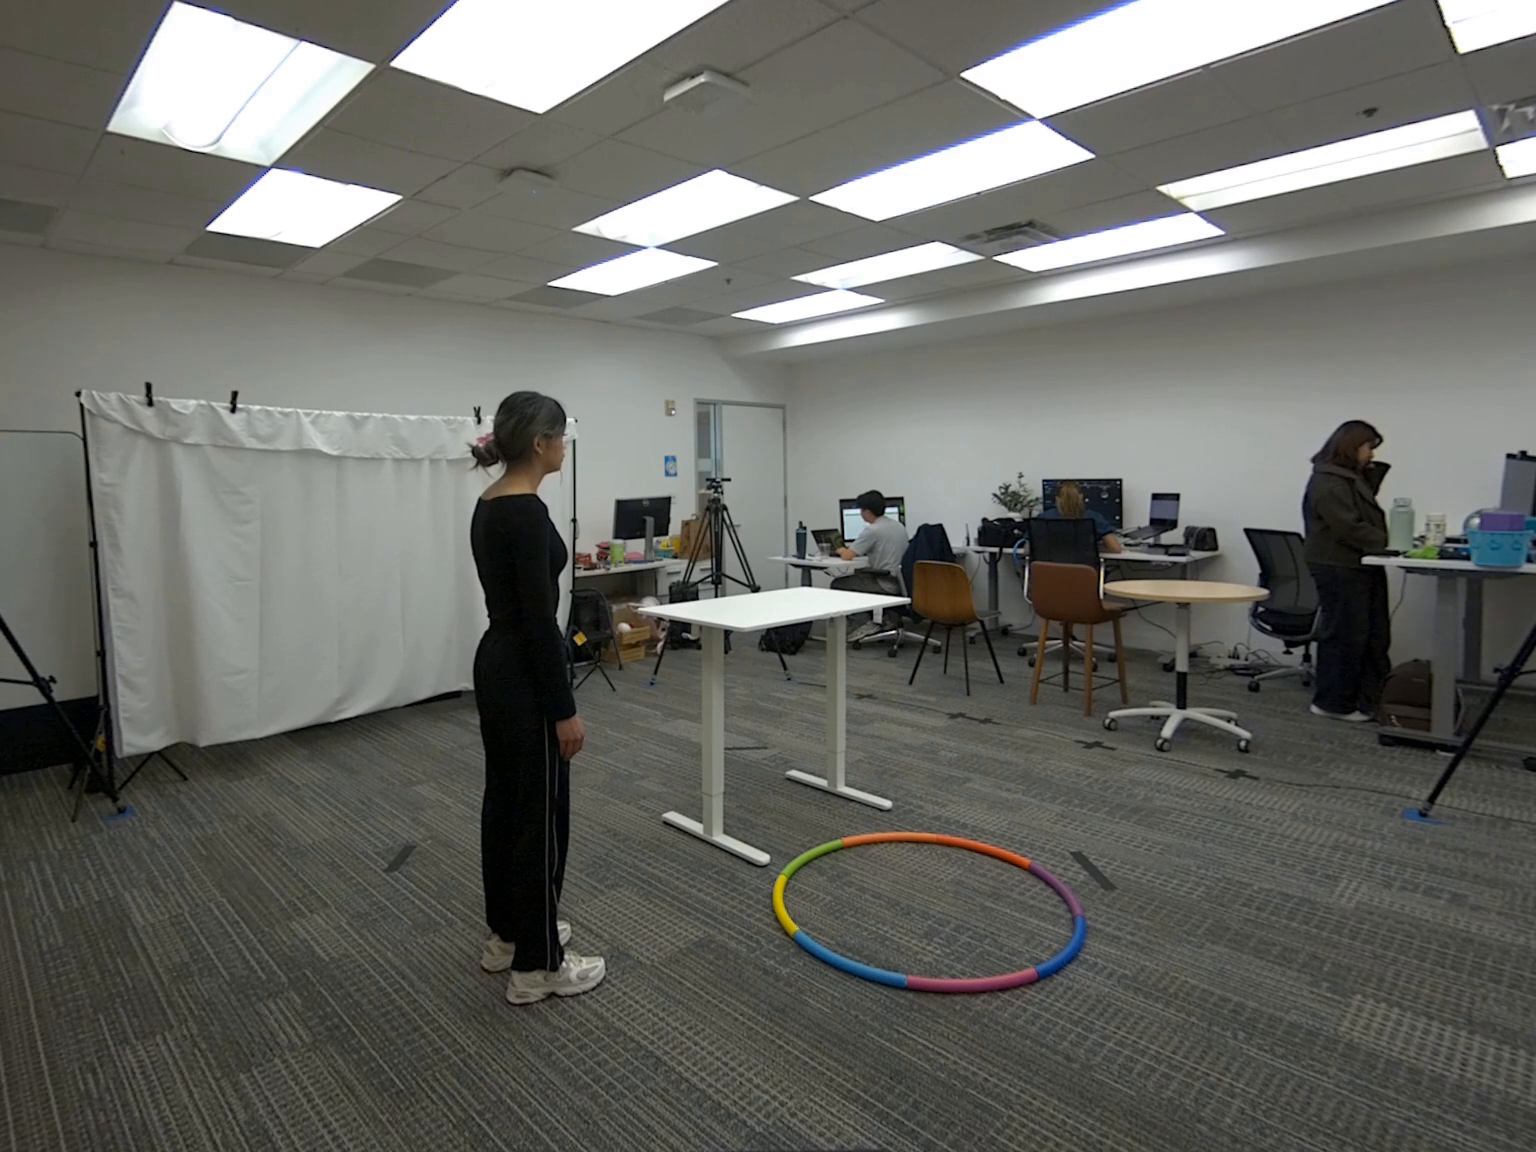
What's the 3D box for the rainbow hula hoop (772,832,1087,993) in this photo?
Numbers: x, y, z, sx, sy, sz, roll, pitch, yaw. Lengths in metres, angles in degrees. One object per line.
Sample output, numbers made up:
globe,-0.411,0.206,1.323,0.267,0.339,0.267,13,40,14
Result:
rainbow hula hoop,0.502,1.039,2.791,0.978,0.035,0.985,-1,7,-2
